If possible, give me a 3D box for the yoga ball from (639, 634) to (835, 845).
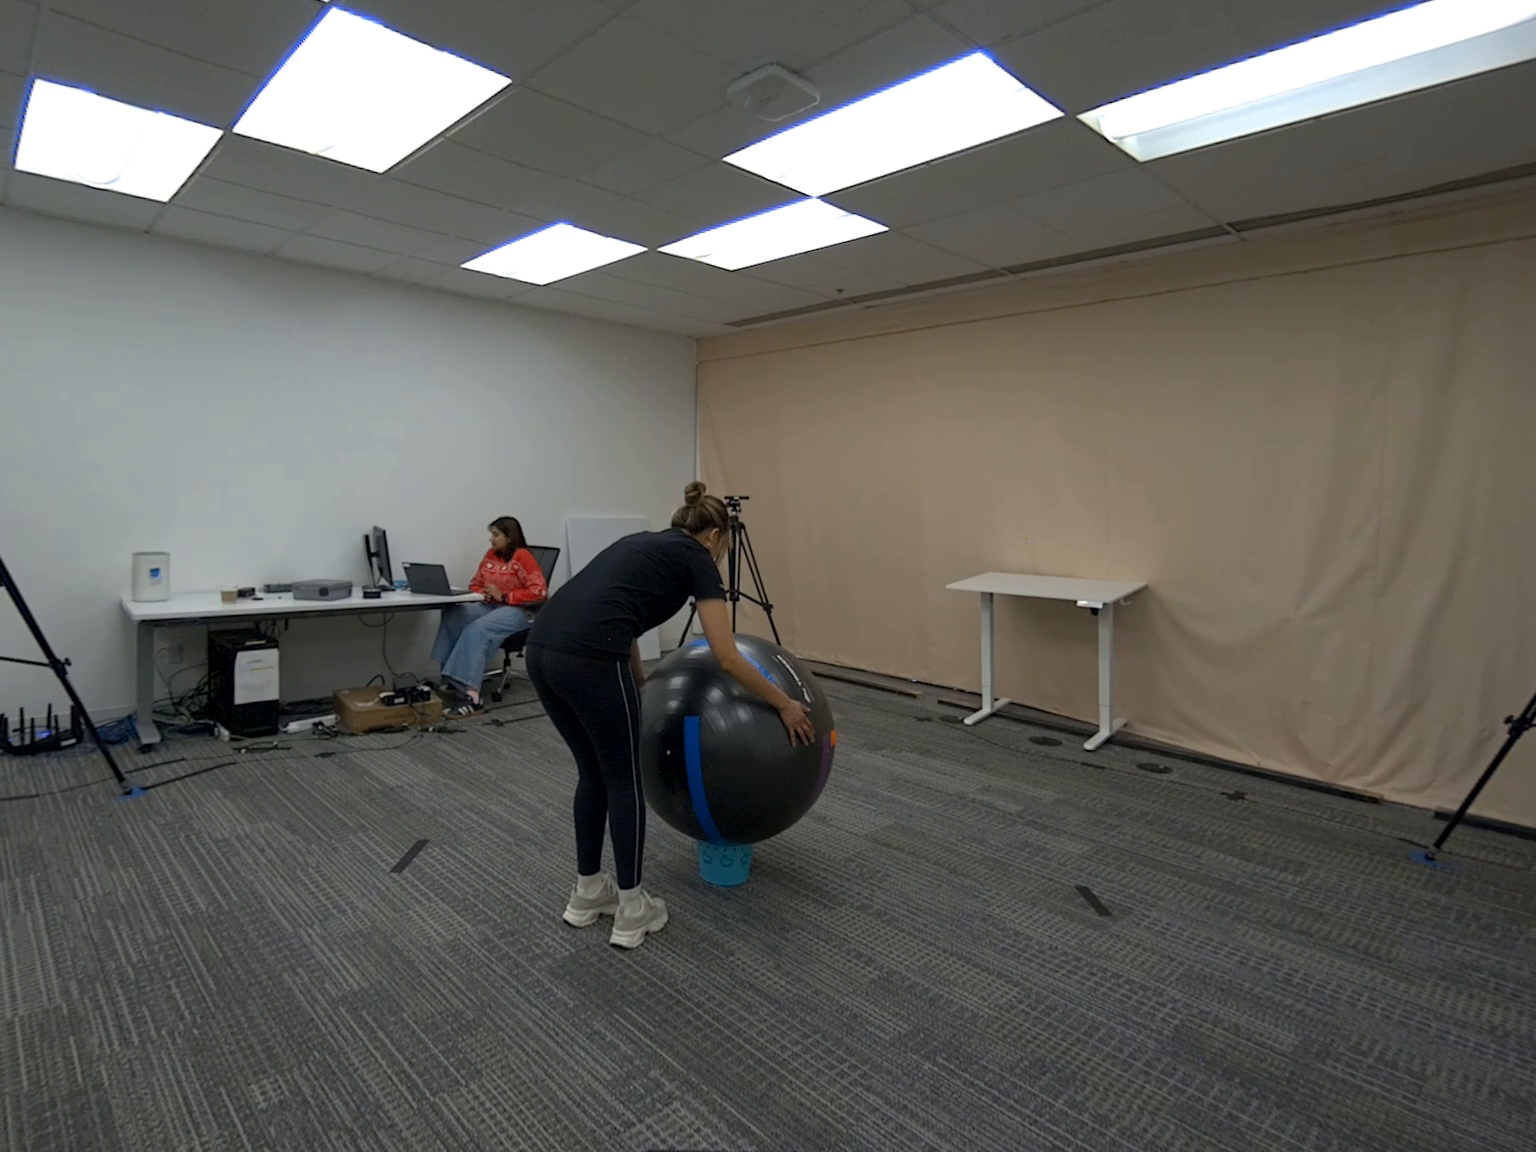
[{"bbox_3d":[-0.140,0.595,3.090,0.757,0.756,0.761,1,4,-1],"label":"yoga ball"}]
